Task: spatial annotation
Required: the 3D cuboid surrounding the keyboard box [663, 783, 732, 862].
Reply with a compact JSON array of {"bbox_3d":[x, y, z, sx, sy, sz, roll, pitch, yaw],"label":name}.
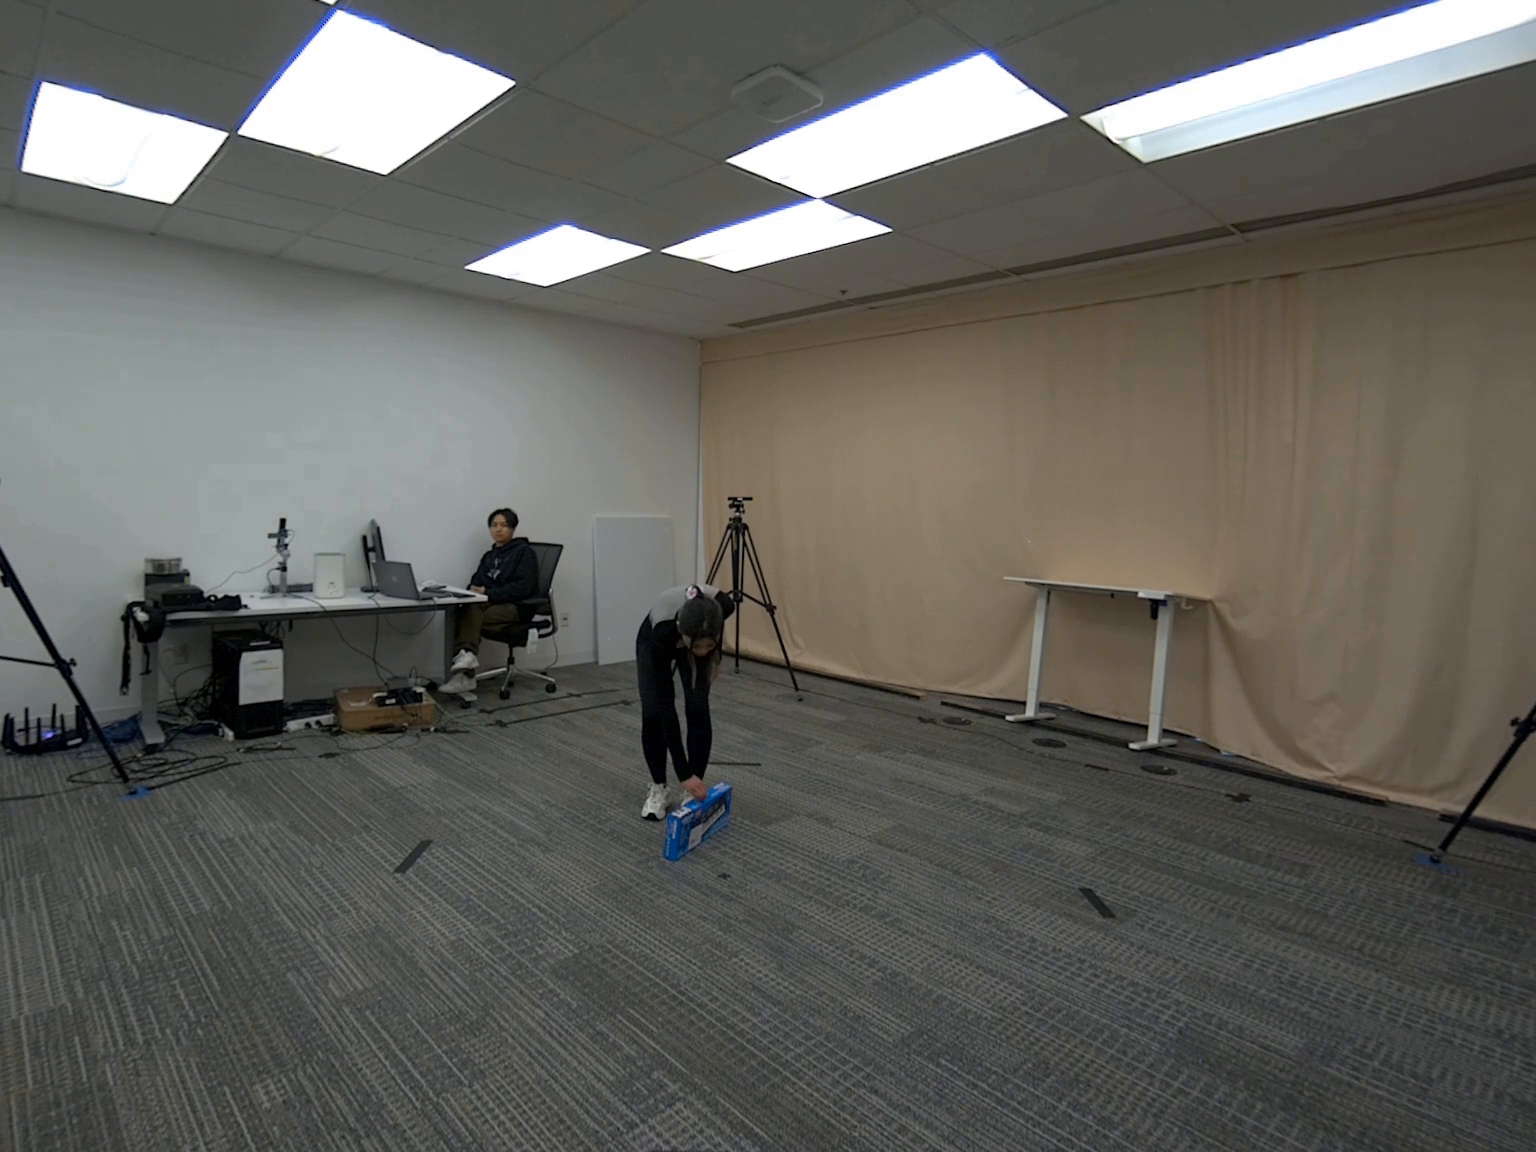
[{"bbox_3d":[-0.287,0.989,3.413,0.060,0.175,0.429,9,7,24],"label":"keyboard box"}]
